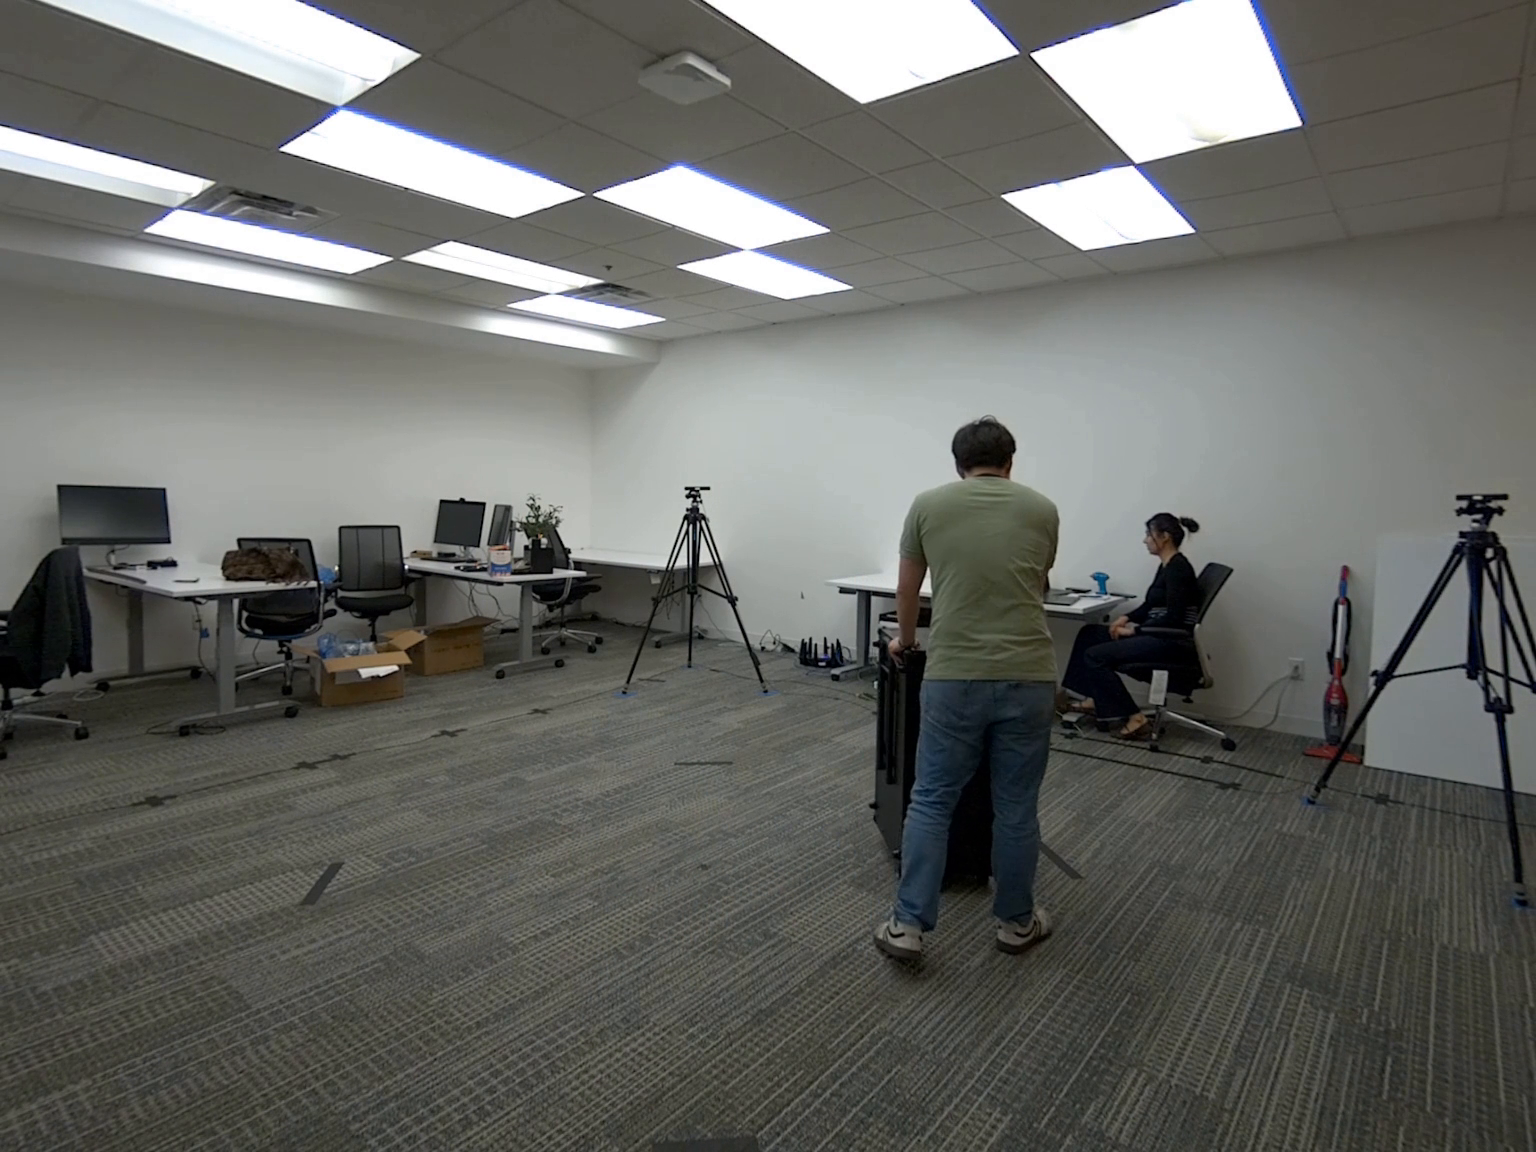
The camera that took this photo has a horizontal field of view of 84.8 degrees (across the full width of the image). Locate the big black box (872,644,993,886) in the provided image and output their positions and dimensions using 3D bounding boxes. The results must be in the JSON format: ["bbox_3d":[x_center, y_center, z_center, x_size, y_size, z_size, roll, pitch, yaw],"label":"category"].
[{"bbox_3d":[0.604,0.656,3.151,0.396,0.858,0.524,0,4,-2],"label":"big black box"}]
